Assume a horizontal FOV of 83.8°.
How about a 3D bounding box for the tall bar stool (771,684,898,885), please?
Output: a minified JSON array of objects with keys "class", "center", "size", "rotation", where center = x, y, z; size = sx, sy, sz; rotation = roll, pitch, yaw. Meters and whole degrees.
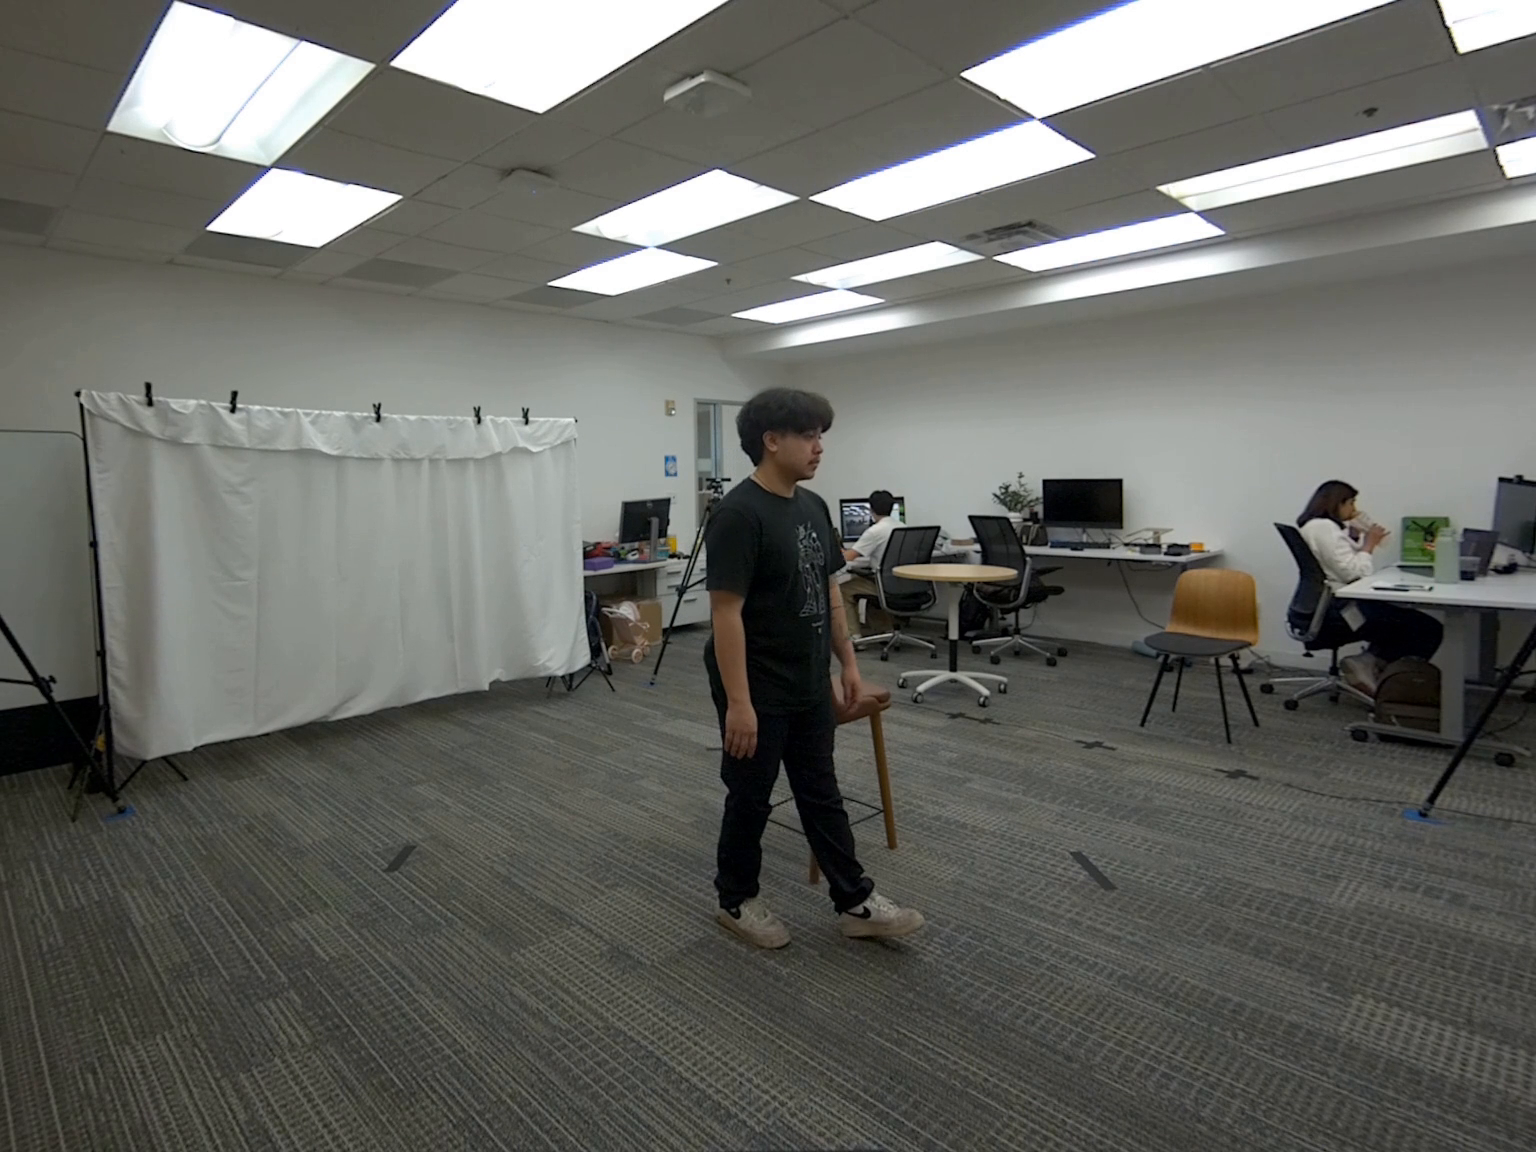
[{"class":"tall bar stool","center":[0.180,0.595,3.183],"size":[0.456,0.885,0.470],"rotation":[-7,7,-42]}]
